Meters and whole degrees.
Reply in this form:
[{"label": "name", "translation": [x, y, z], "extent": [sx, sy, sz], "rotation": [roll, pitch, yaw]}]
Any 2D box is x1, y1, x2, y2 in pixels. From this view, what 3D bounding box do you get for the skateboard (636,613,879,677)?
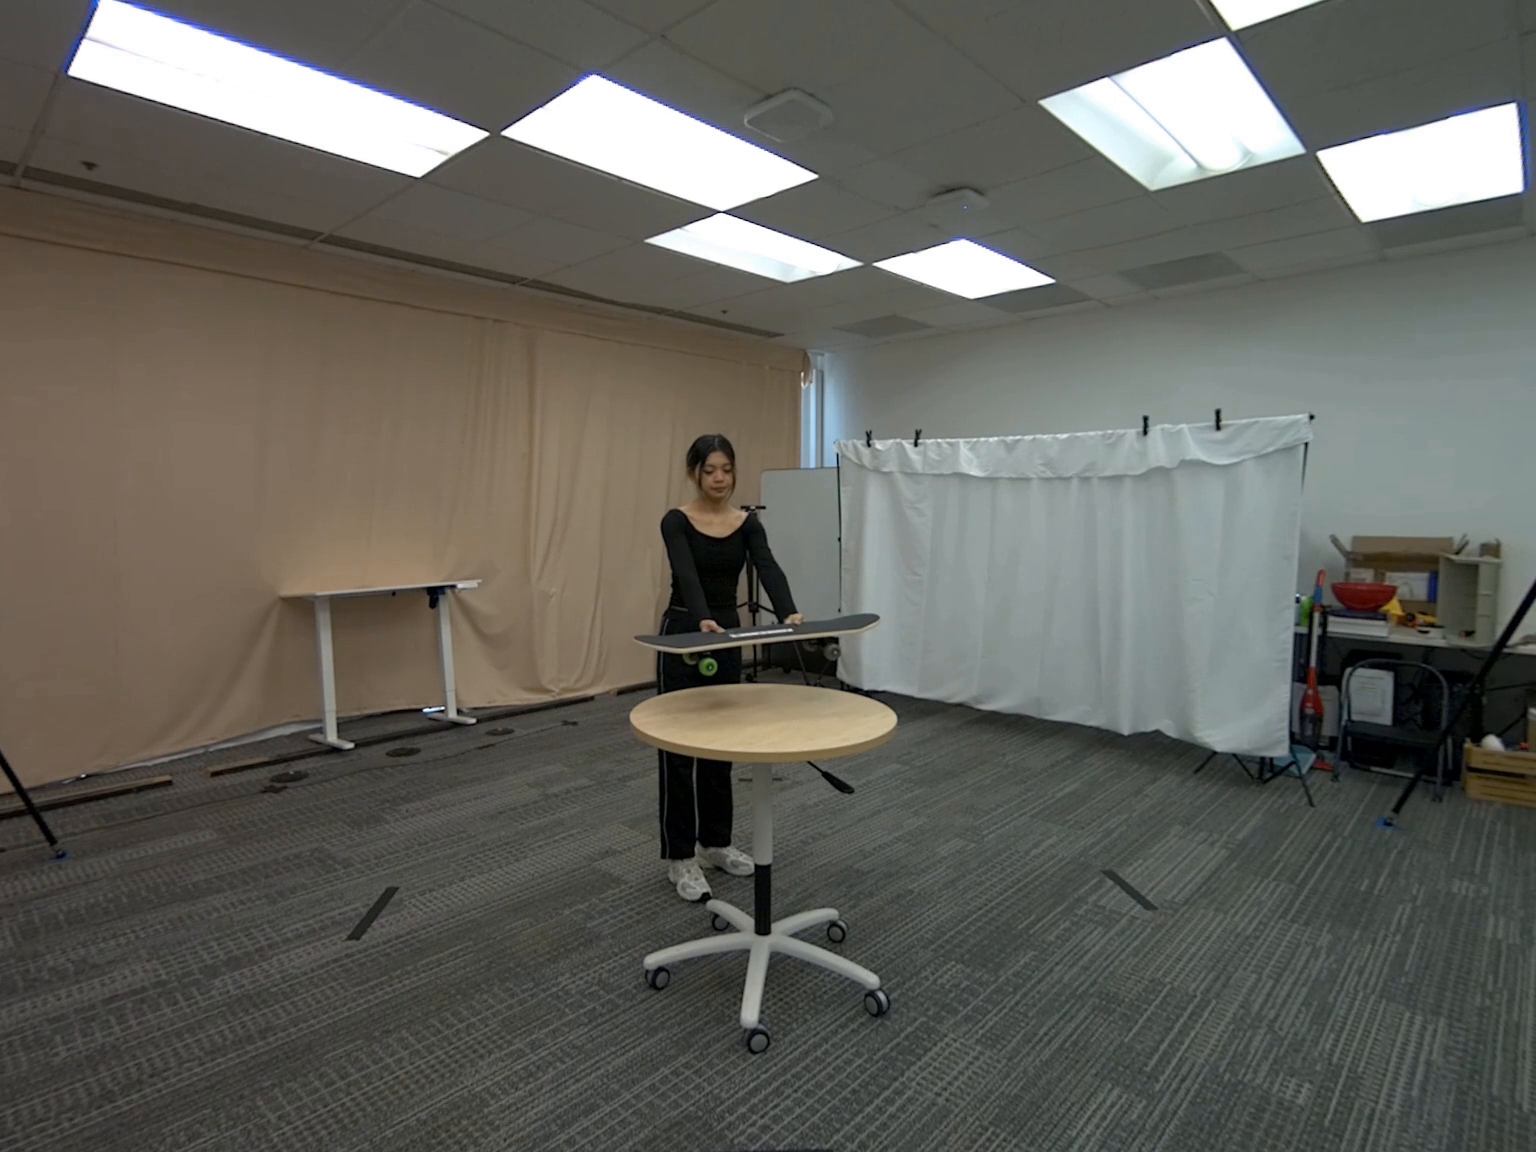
[{"label": "skateboard", "translation": [-0.004, 0.213, 2.531], "extent": [0.771, 0.110, 0.198], "rotation": [-4, 10, -18]}]
